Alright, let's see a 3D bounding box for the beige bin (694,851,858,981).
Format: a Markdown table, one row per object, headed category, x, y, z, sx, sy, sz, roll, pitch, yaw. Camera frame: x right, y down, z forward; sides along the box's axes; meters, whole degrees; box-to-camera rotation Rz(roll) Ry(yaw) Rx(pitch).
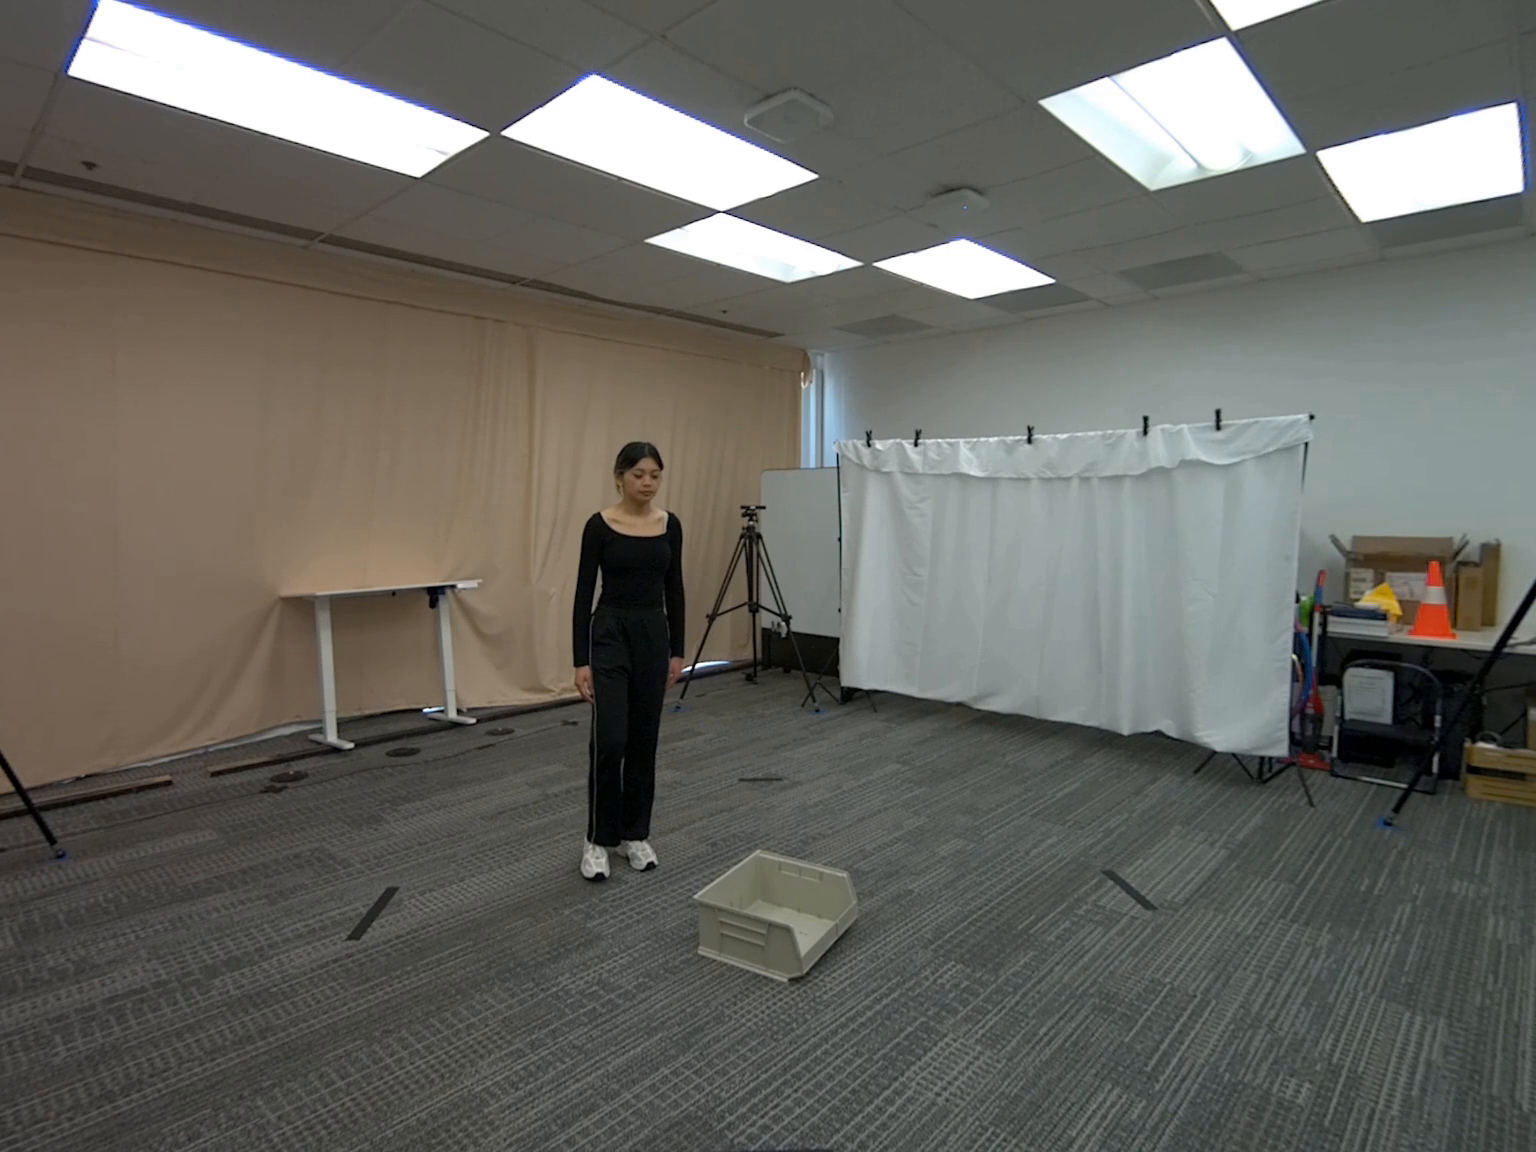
| category | x | y | z | sx | sy | sz | roll | pitch | yaw |
| --- | --- | --- | --- | --- | --- | --- | --- | --- | --- |
| beige bin | 0.034 | 1.081 | 2.696 | 0.388 | 0.188 | 0.411 | 1 | 5 | 30 |
